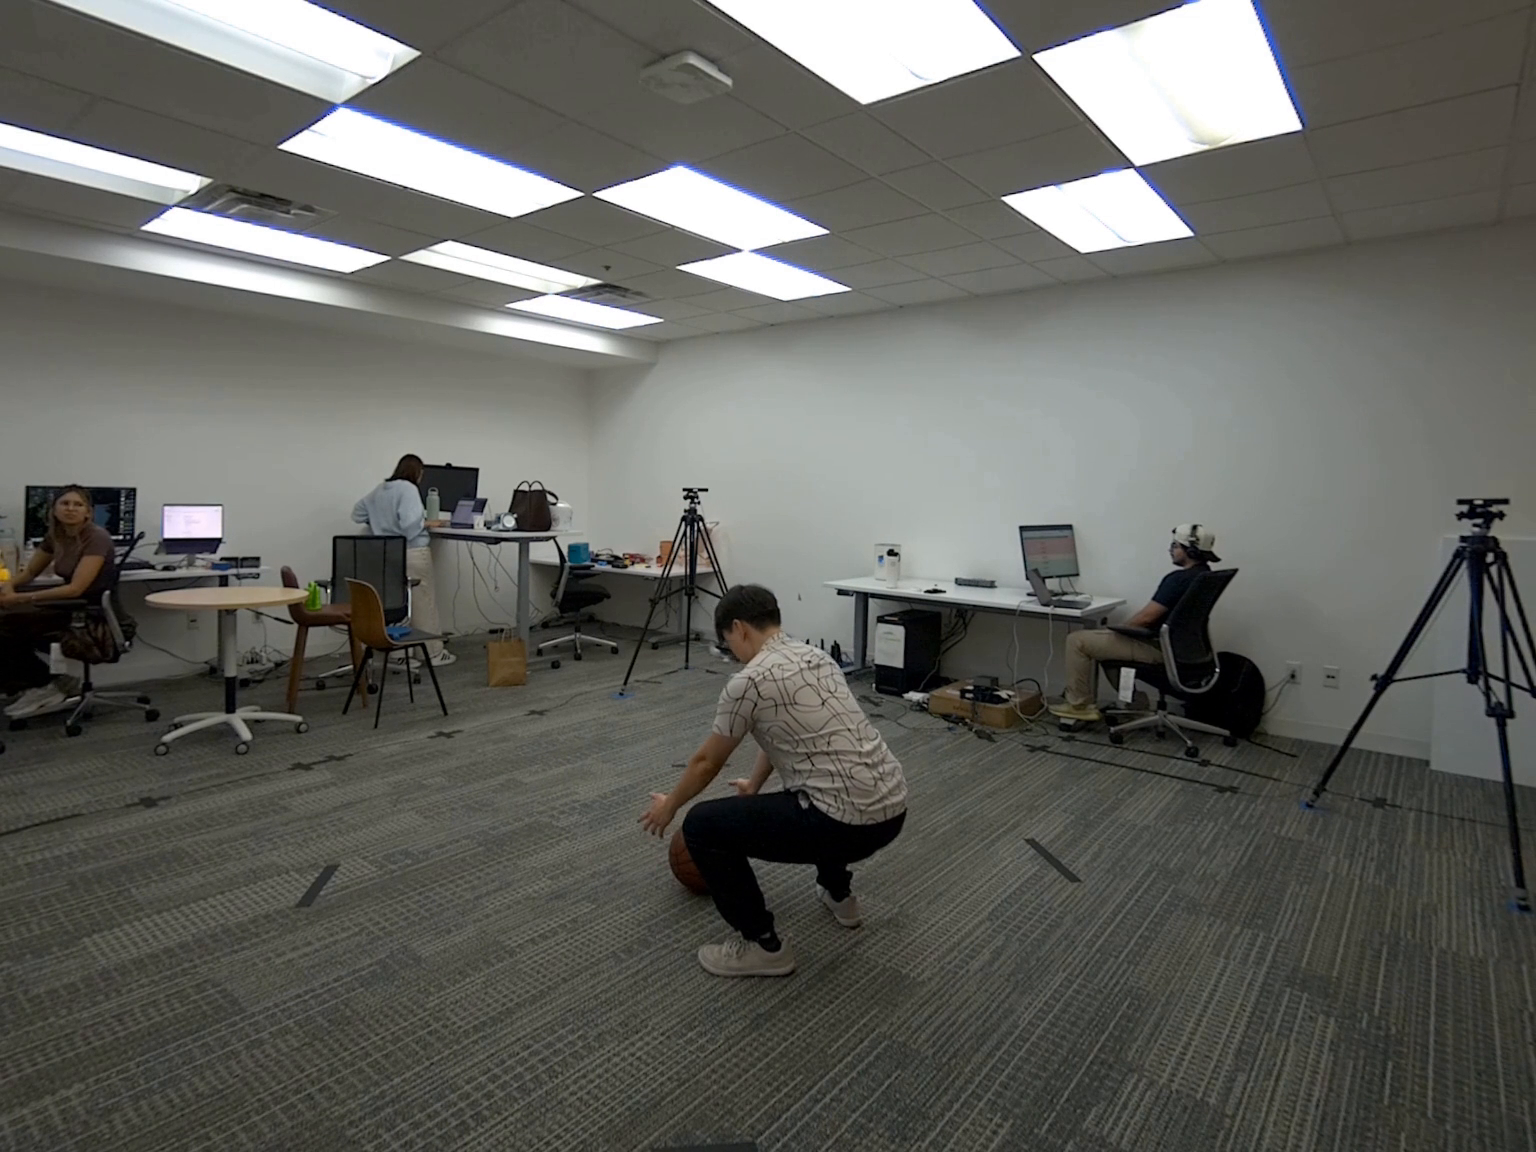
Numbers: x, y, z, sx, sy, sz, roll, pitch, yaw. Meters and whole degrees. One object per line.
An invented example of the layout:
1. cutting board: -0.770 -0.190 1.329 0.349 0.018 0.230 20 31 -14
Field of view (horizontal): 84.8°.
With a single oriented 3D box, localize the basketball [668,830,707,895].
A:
1. basketball: -0.226 0.954 2.959 0.235 0.235 0.237 1 4 -2
